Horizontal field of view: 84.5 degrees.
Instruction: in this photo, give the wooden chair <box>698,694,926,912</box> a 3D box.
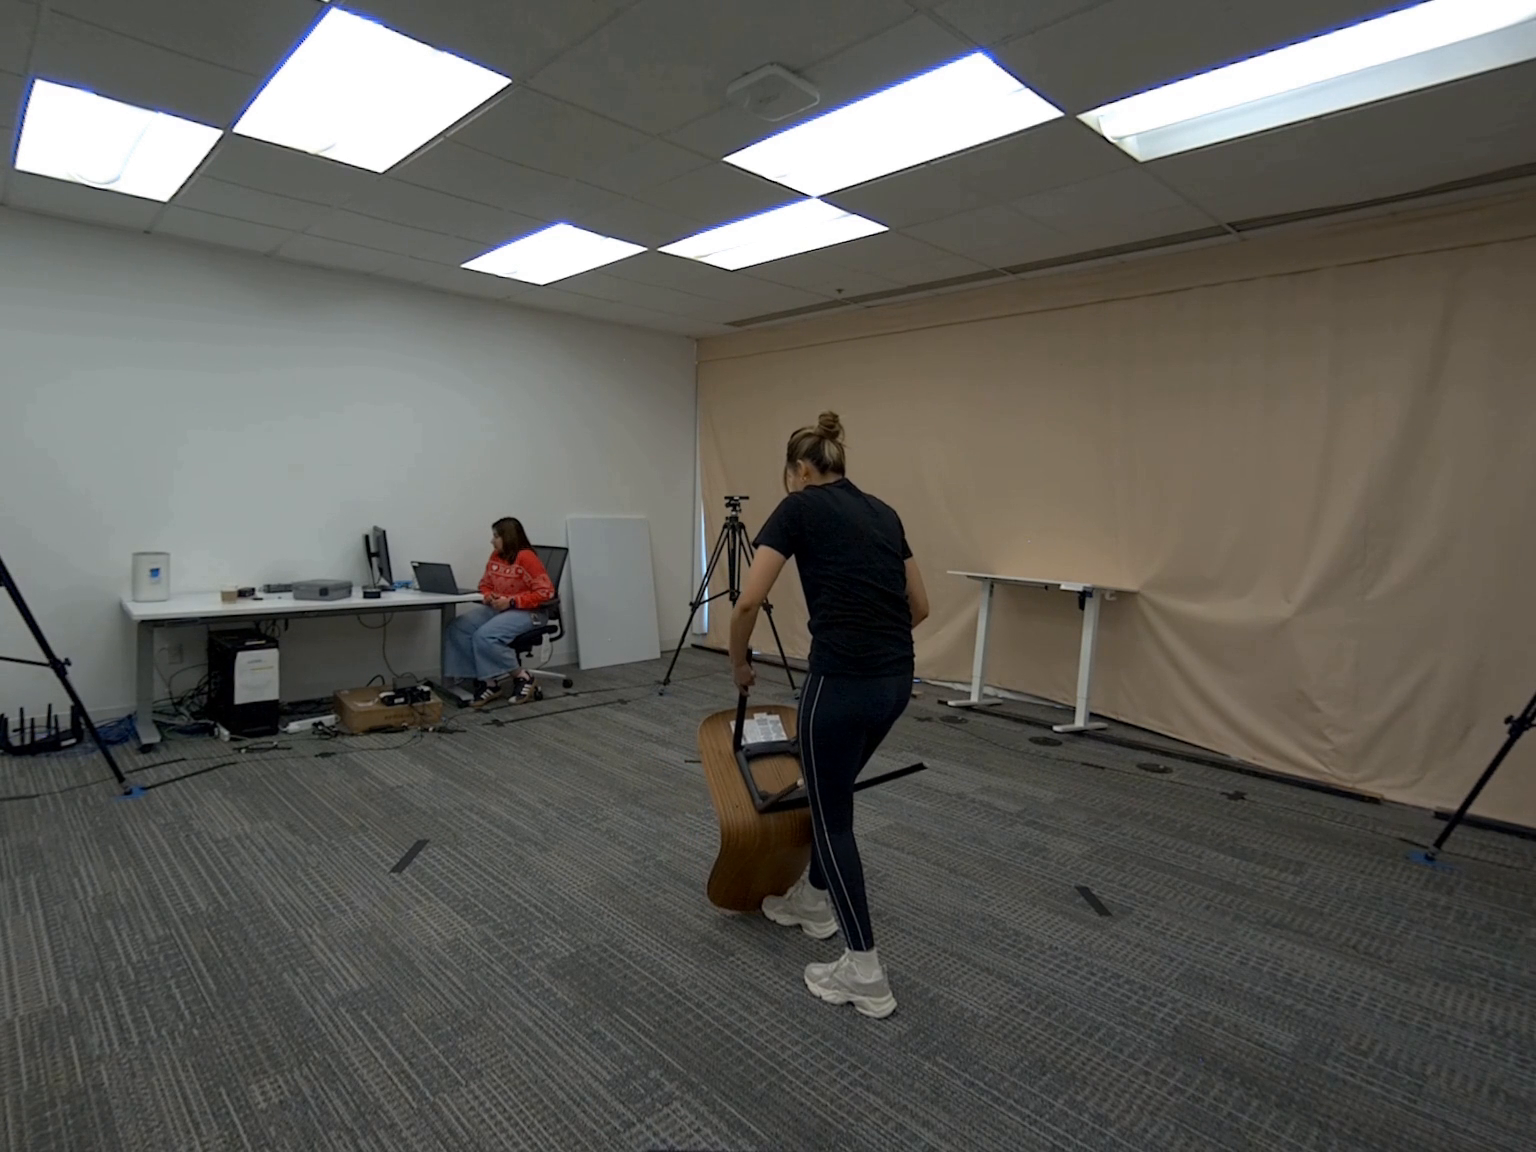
[{"bbox_3d":[0.029,0.648,2.750,0.468,0.869,0.538,0,46,-29],"label":"wooden chair"}]
